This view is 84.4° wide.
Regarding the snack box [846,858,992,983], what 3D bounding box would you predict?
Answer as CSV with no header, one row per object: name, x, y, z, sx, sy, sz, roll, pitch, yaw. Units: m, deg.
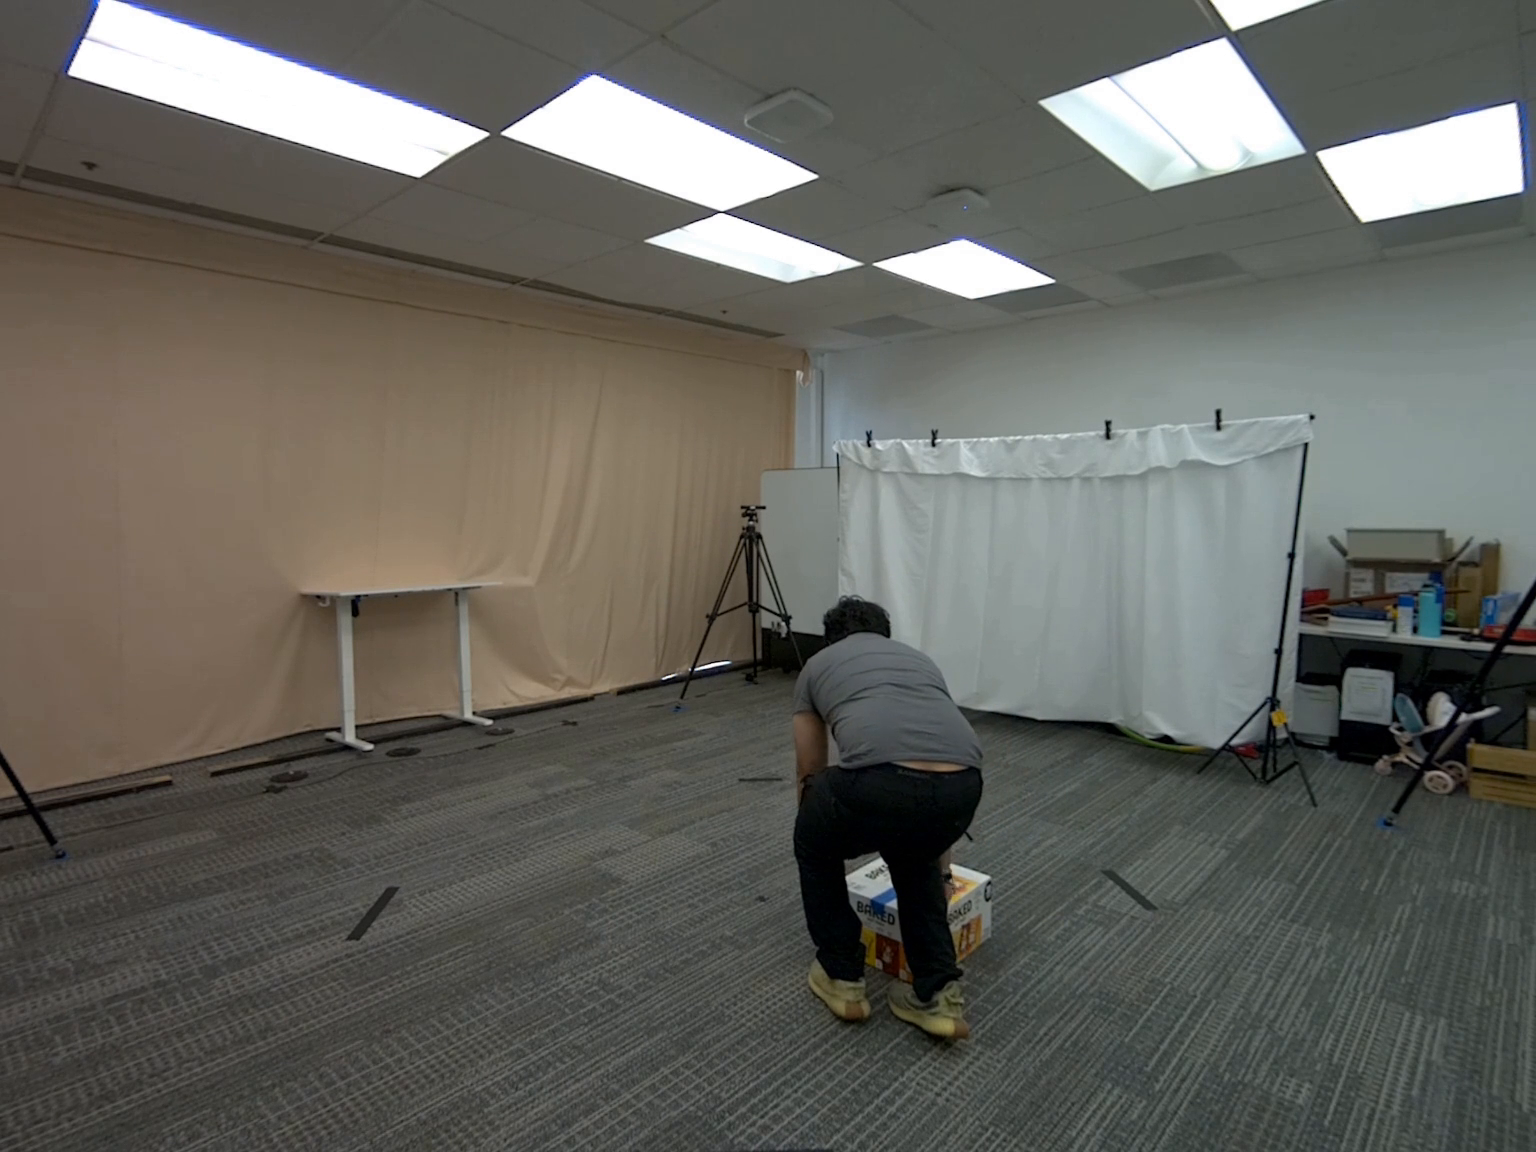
snack box,0.462,1.068,2.669,0.352,0.205,0.393,4,6,42
